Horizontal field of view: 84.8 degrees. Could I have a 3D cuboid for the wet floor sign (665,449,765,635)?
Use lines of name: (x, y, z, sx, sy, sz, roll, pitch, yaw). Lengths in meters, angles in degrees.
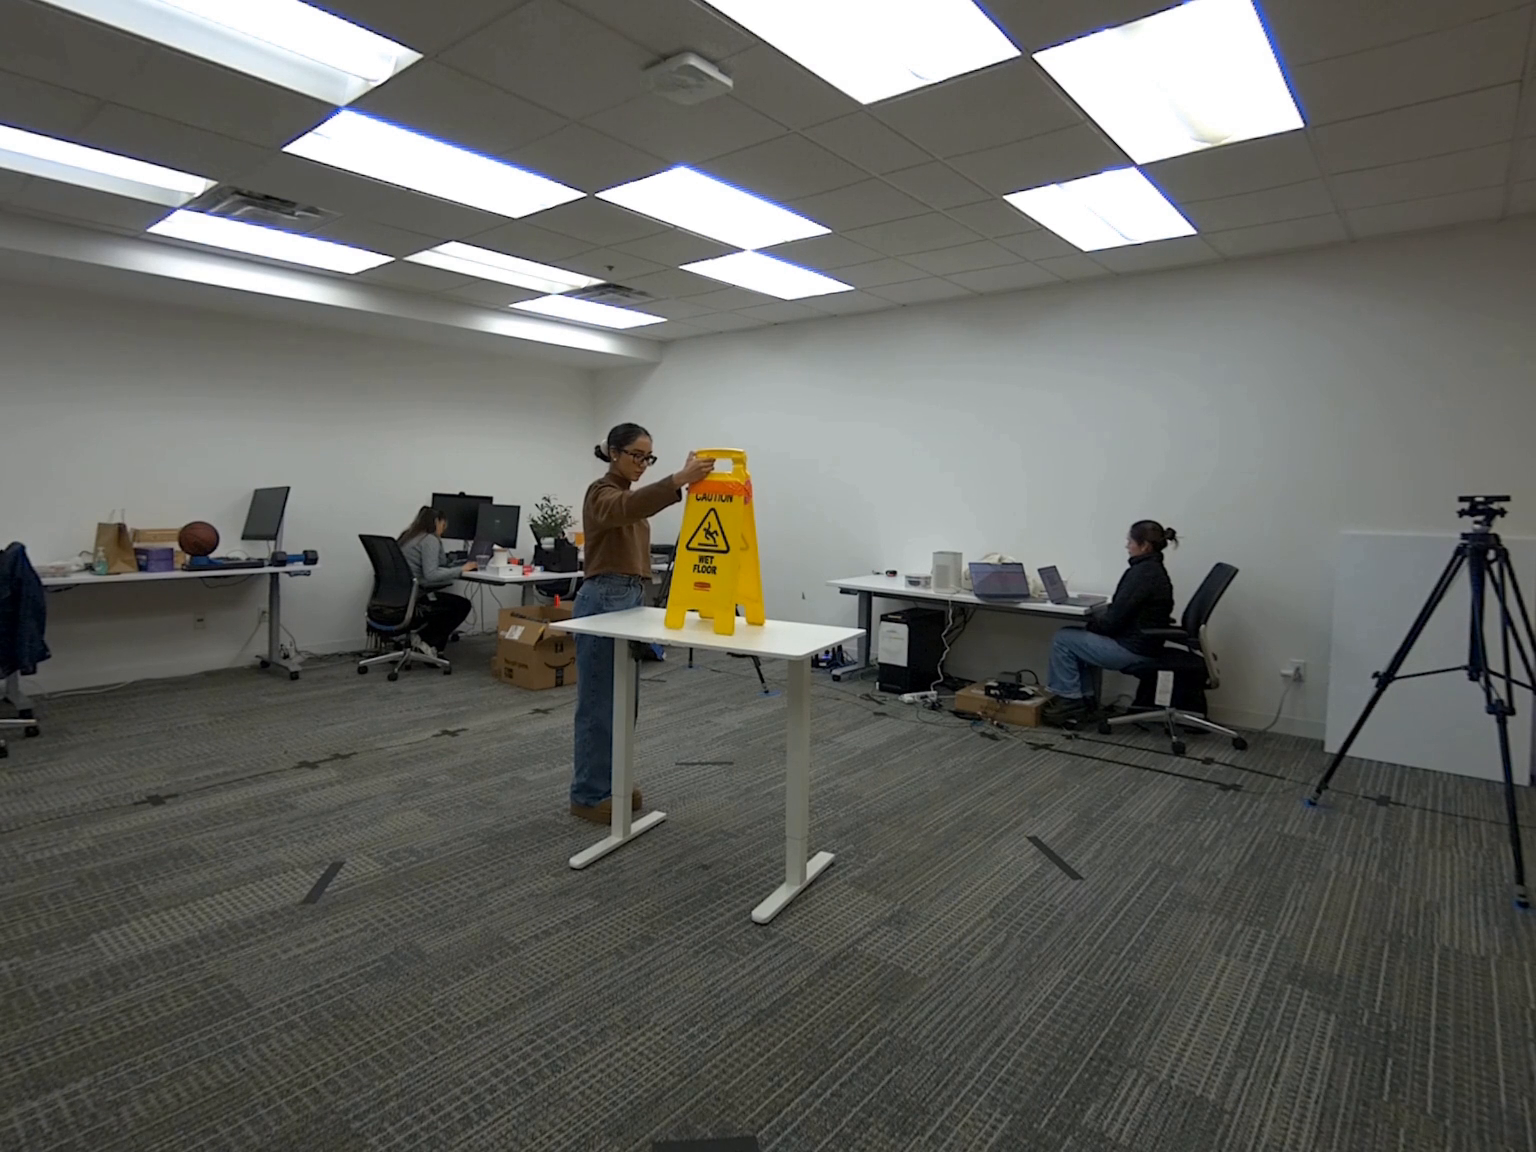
wet floor sign: (-0.193, -0.138, 3.094, 0.290, 0.644, 0.283, 3, 4, 25)
